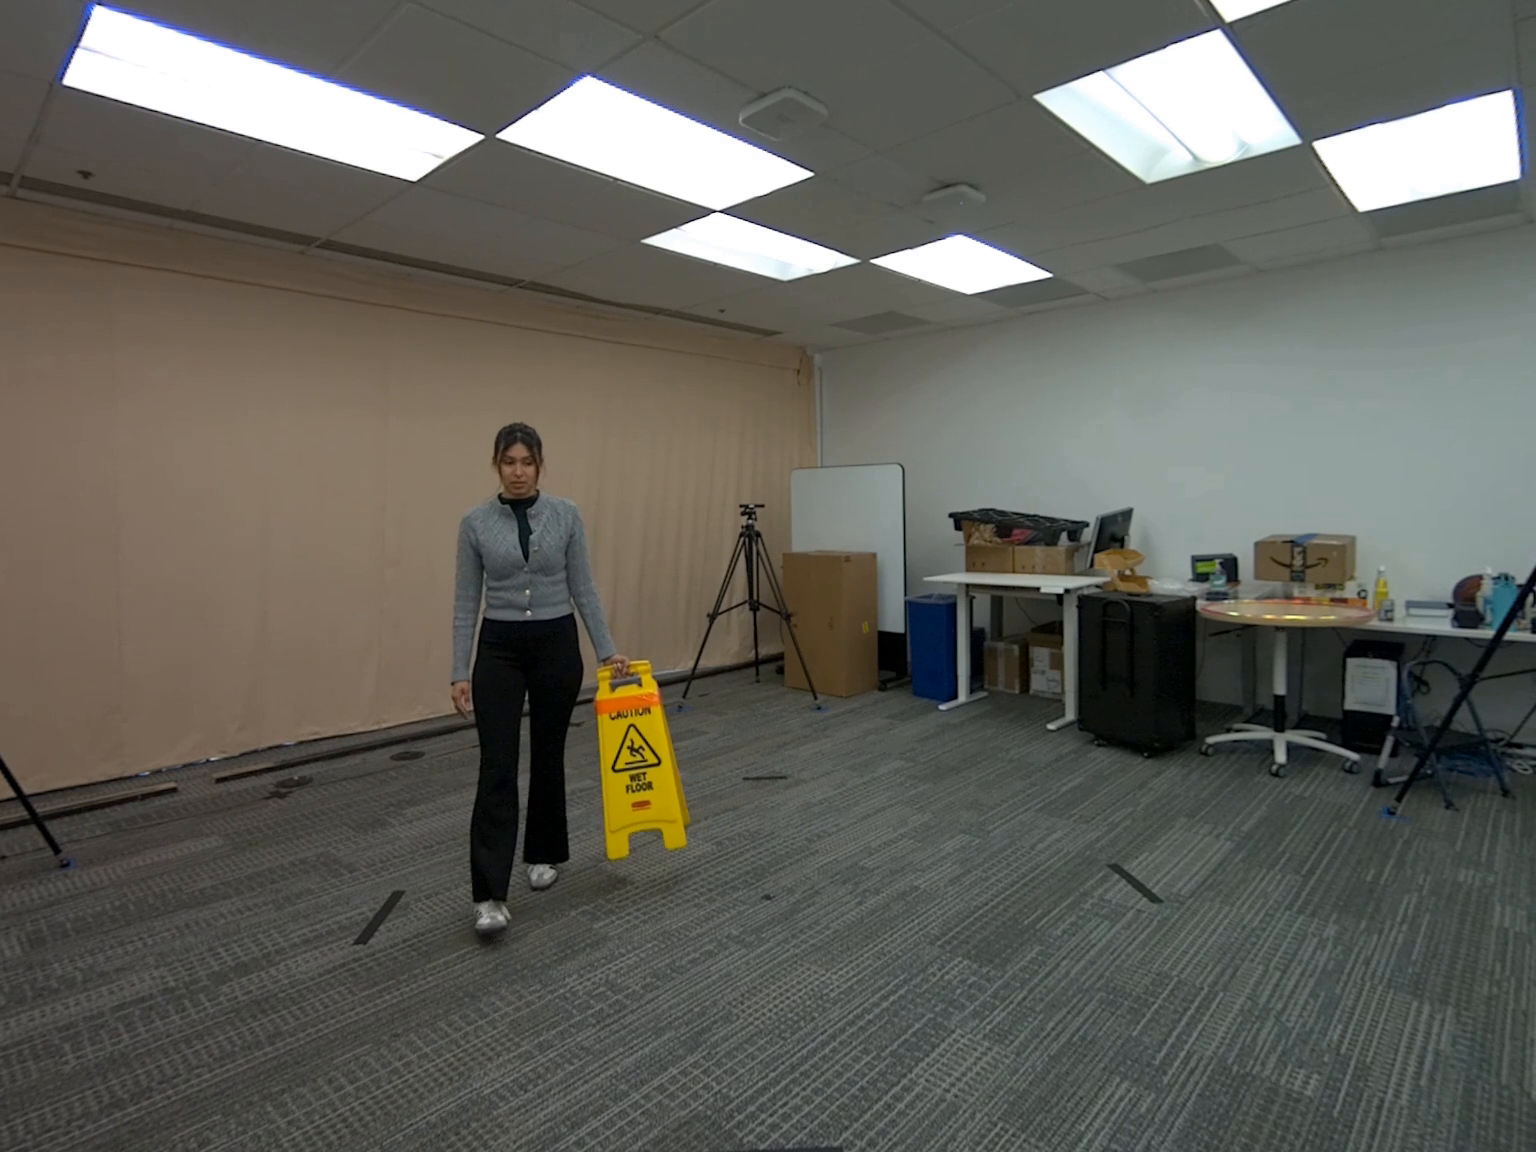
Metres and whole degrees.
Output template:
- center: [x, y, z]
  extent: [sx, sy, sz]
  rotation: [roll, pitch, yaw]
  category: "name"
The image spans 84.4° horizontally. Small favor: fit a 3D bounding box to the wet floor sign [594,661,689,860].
- center: [-0.485, 0.644, 3.062]
  extent: [0.281, 0.647, 0.290]
  rotation: [-8, -2, -4]
  category: "wet floor sign"
